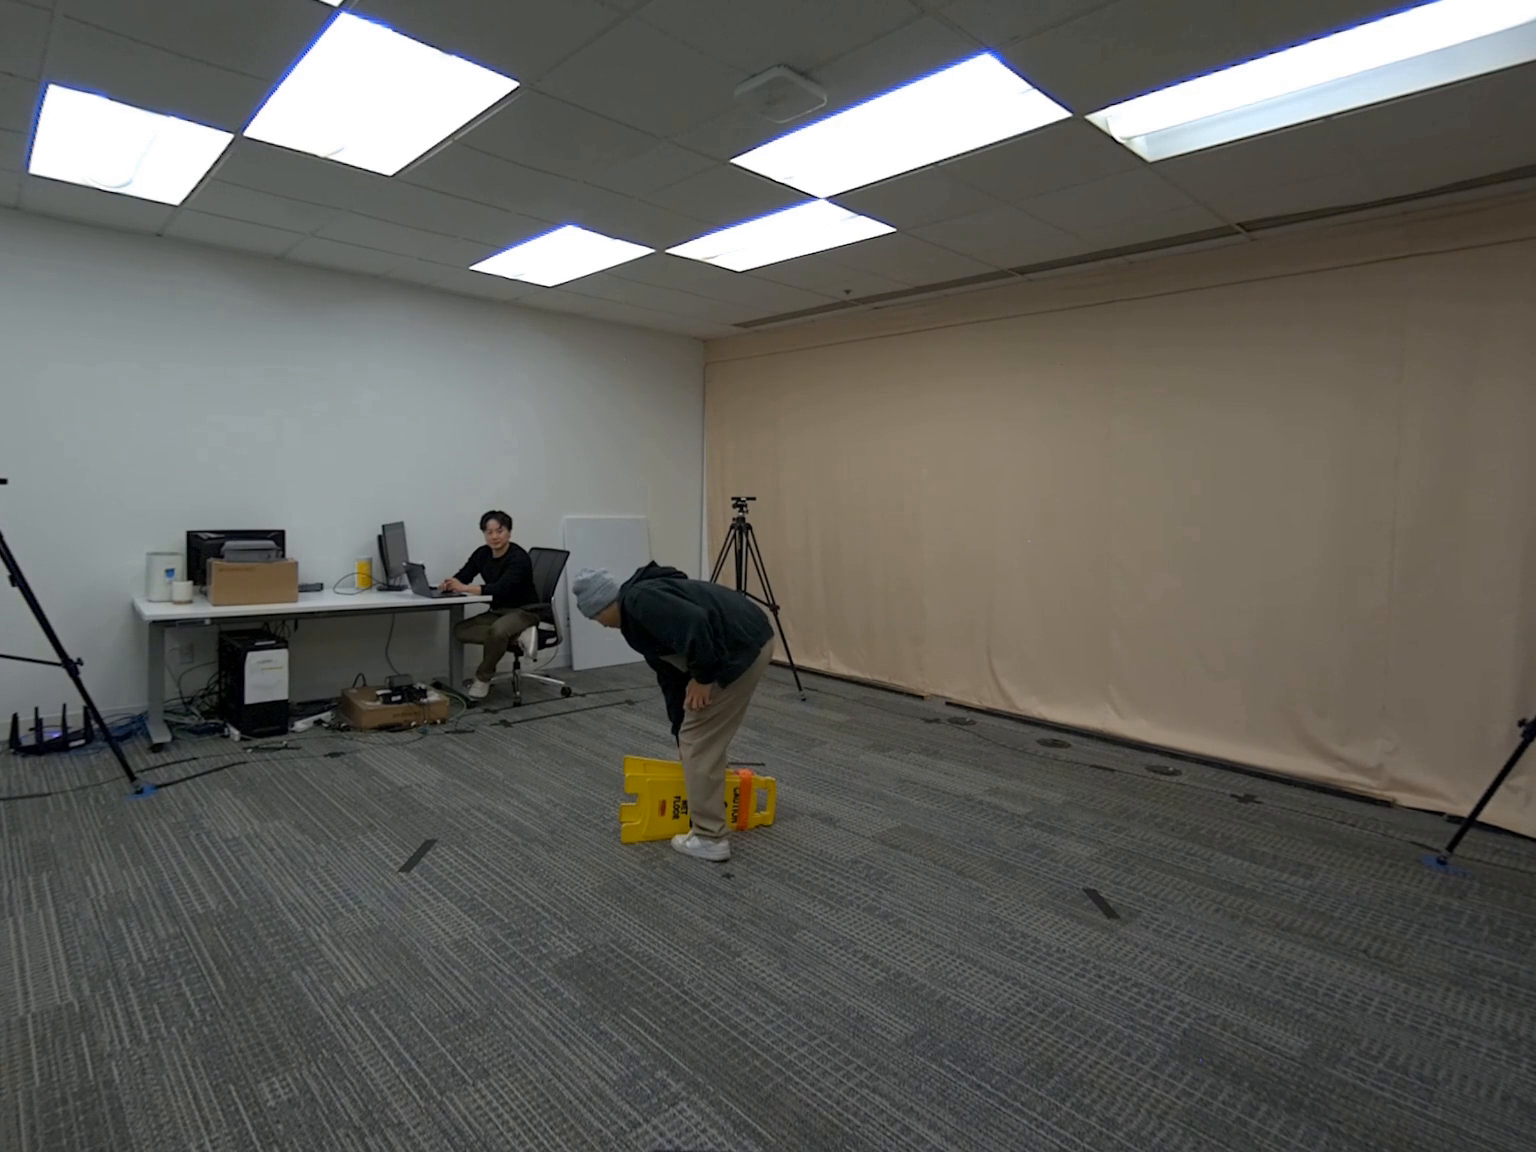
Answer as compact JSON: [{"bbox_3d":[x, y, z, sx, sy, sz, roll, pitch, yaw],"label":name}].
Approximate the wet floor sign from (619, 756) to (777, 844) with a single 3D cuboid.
[{"bbox_3d":[-0.298,0.939,3.551,0.641,0.282,0.292,4,3,-10],"label":"wet floor sign"}]
